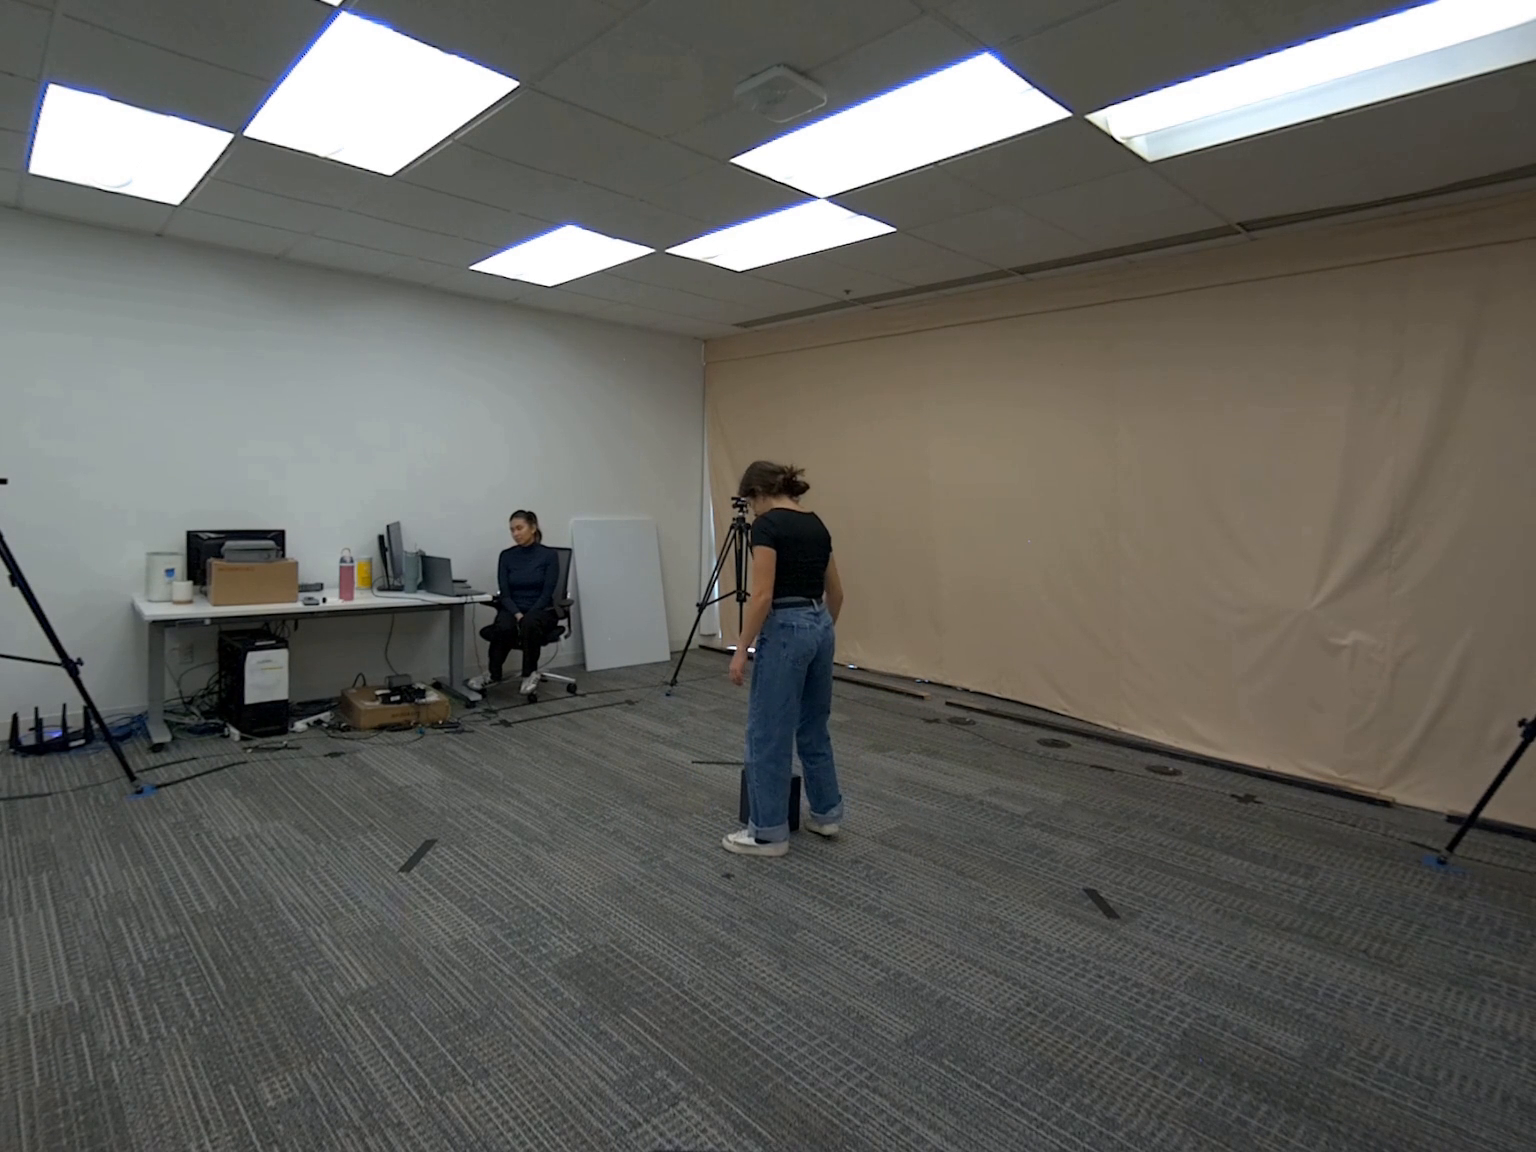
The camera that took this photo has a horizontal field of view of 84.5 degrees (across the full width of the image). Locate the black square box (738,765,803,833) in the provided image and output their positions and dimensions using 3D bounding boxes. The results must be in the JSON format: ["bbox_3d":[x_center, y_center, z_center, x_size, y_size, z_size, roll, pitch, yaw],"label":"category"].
[{"bbox_3d":[0.004,0.949,3.598,0.152,0.227,0.222,0,3,-41],"label":"black square box"}]
